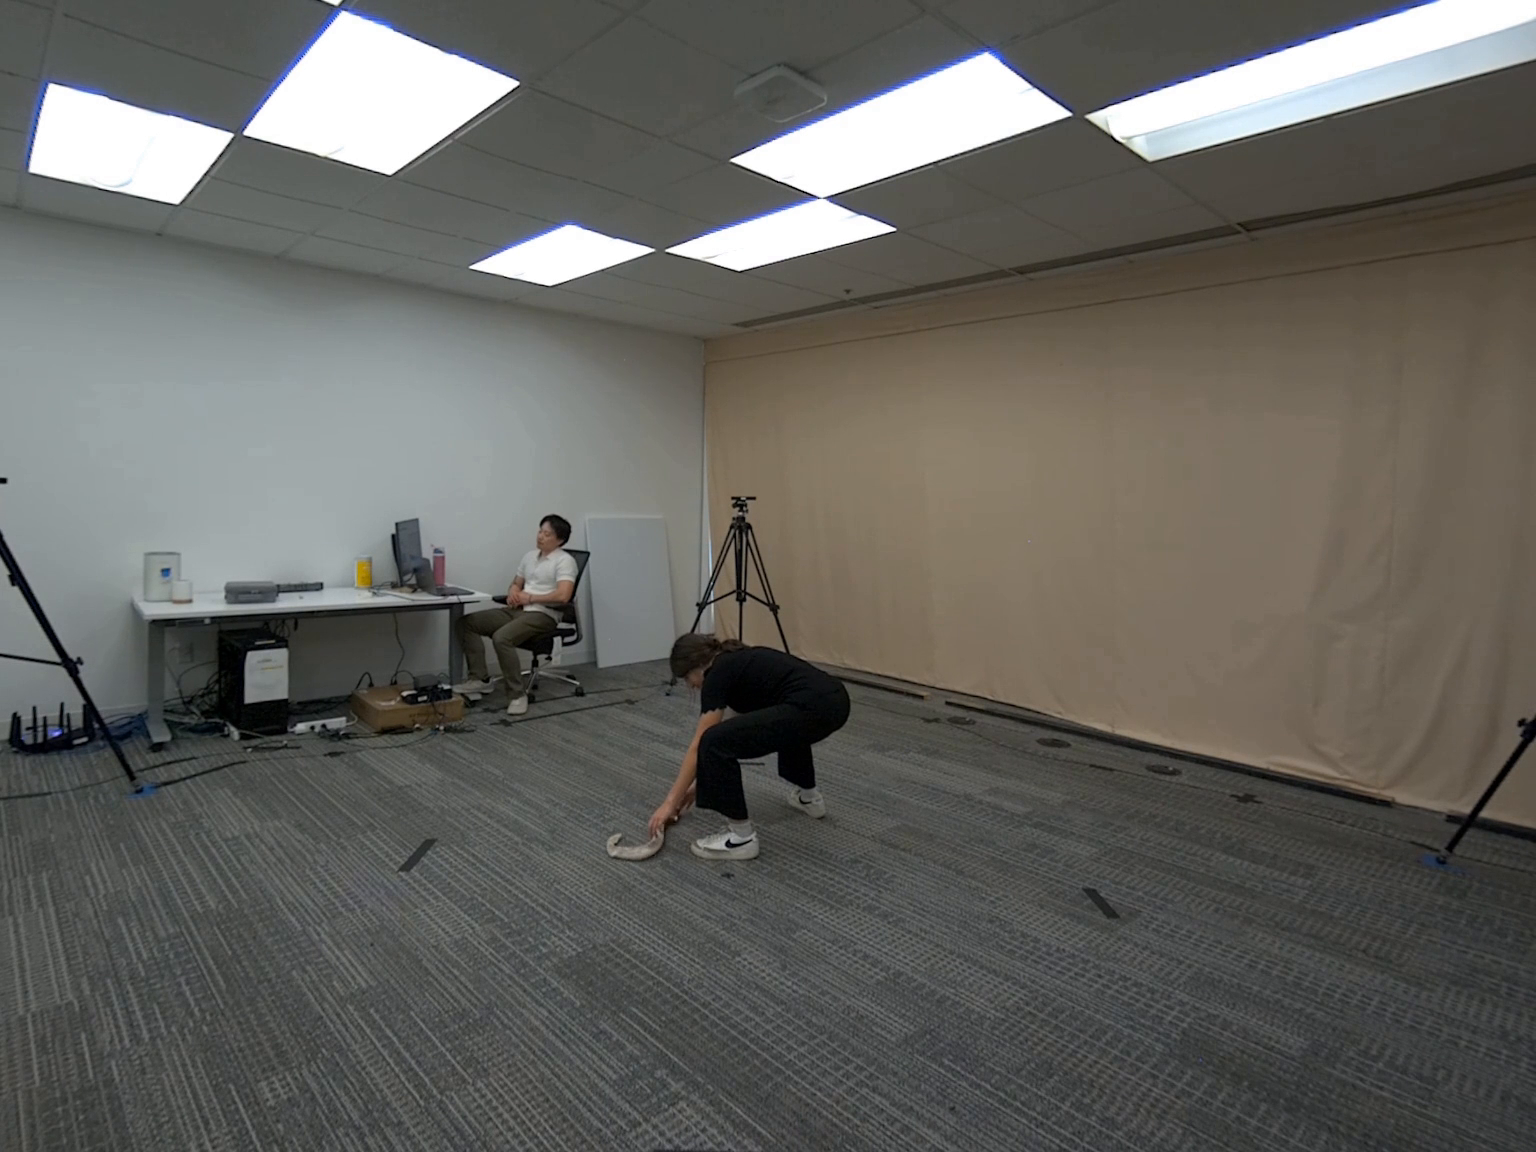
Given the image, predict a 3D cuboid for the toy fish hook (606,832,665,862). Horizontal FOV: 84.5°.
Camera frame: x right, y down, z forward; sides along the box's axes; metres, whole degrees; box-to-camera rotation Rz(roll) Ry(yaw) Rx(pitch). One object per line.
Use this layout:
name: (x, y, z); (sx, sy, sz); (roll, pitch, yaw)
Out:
toy fish hook: (-0.508, 1.042, 3.450); (0.227, 0.048, 0.502); (6, 6, 12)
